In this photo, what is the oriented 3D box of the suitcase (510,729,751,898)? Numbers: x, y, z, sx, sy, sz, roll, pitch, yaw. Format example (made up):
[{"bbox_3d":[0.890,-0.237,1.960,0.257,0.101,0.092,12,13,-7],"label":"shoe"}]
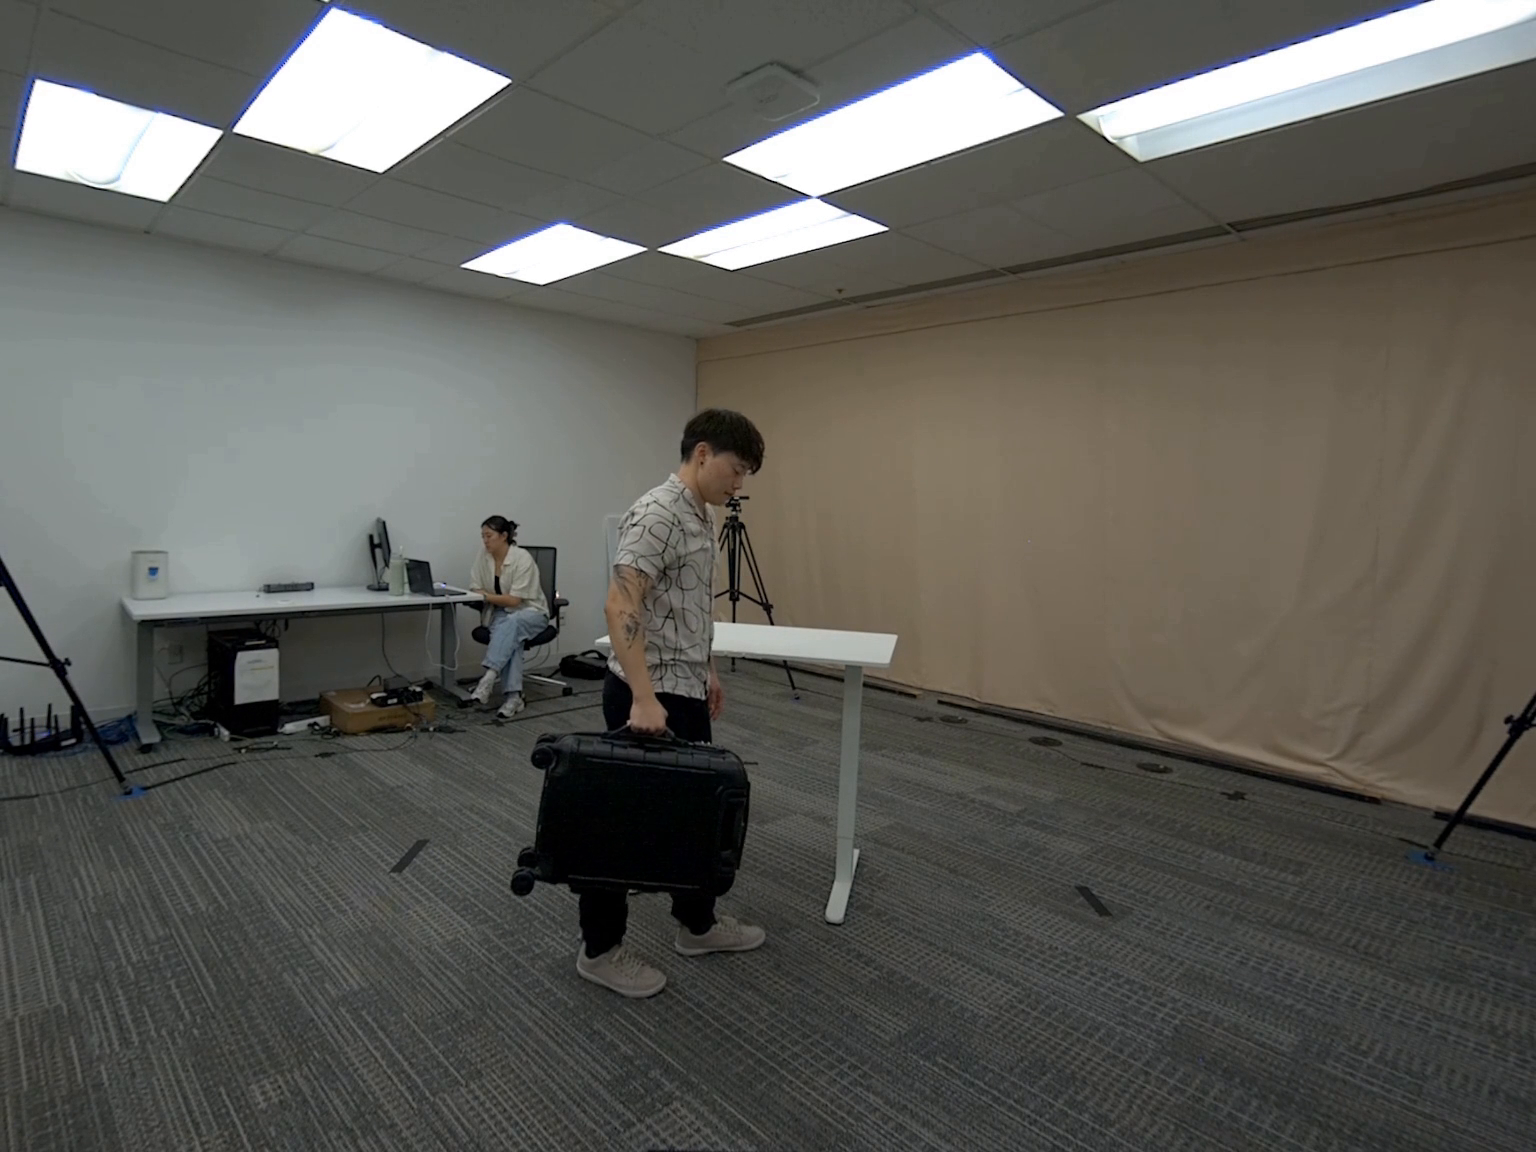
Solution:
[{"bbox_3d":[-0.334,0.592,2.123,0.544,0.377,0.249,7,-6,-10],"label":"suitcase"}]
